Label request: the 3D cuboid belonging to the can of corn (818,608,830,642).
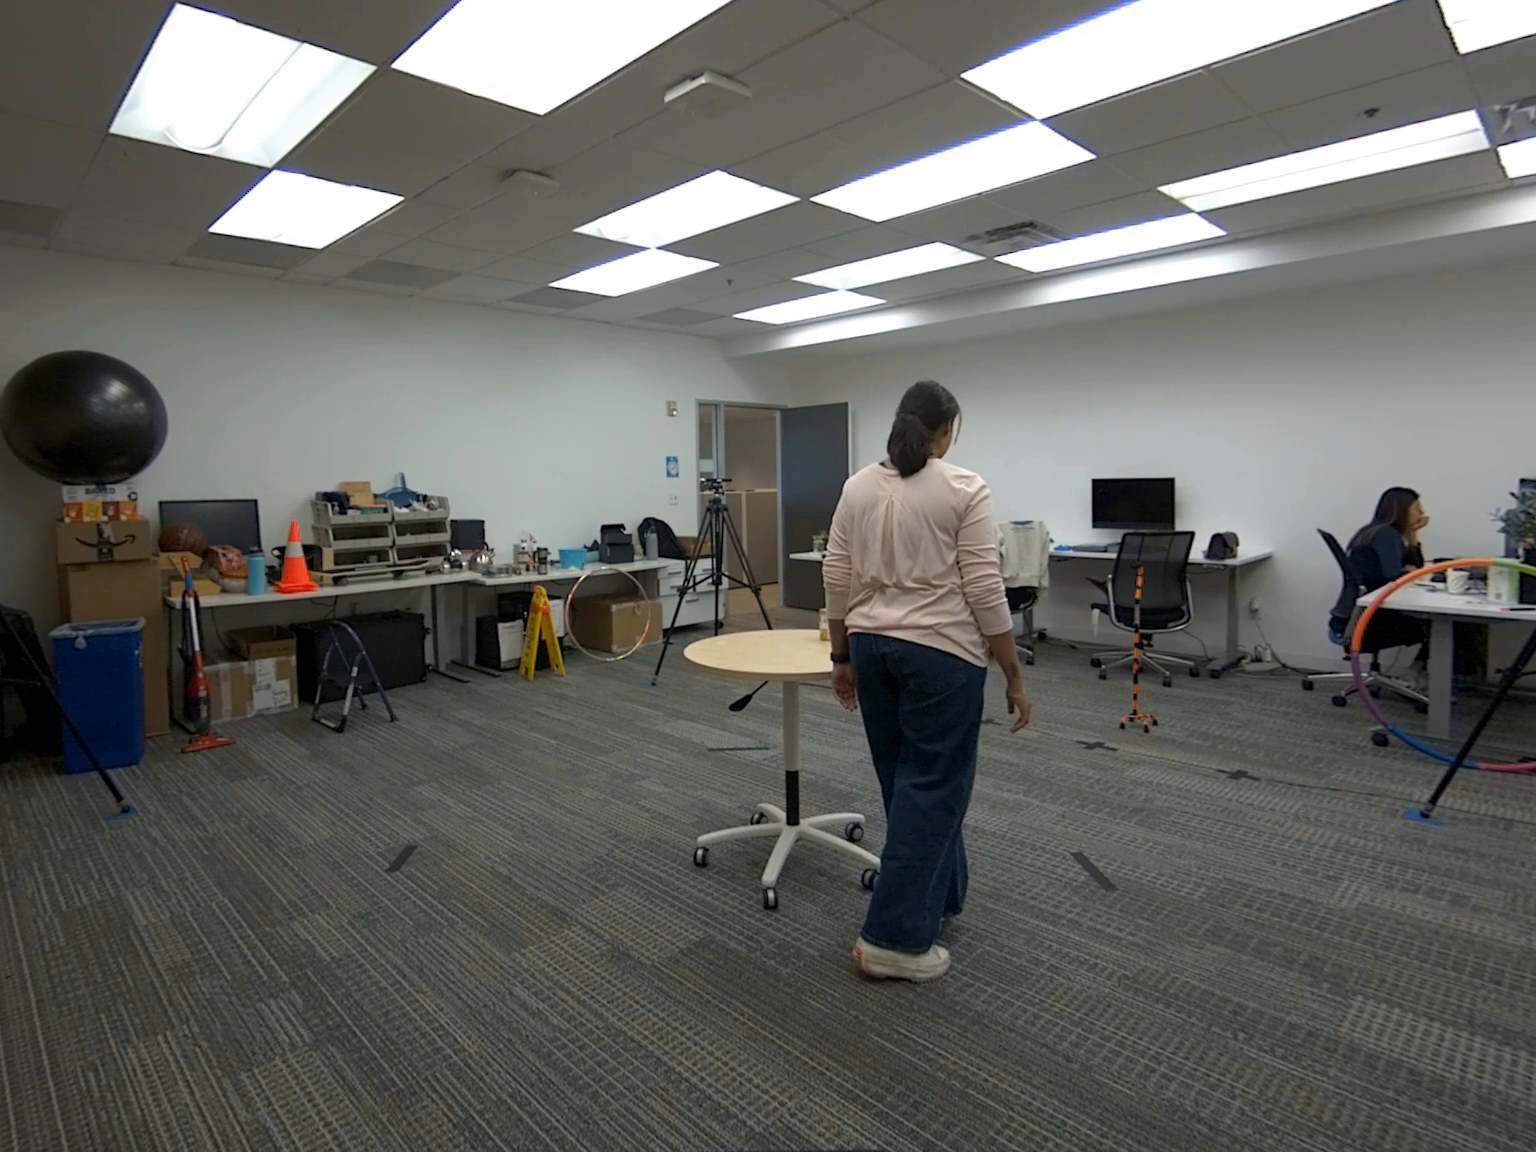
[{"bbox_3d":[0.239,0.184,3.223,0.074,0.110,0.075,0,6,-2],"label":"can of corn"}]
